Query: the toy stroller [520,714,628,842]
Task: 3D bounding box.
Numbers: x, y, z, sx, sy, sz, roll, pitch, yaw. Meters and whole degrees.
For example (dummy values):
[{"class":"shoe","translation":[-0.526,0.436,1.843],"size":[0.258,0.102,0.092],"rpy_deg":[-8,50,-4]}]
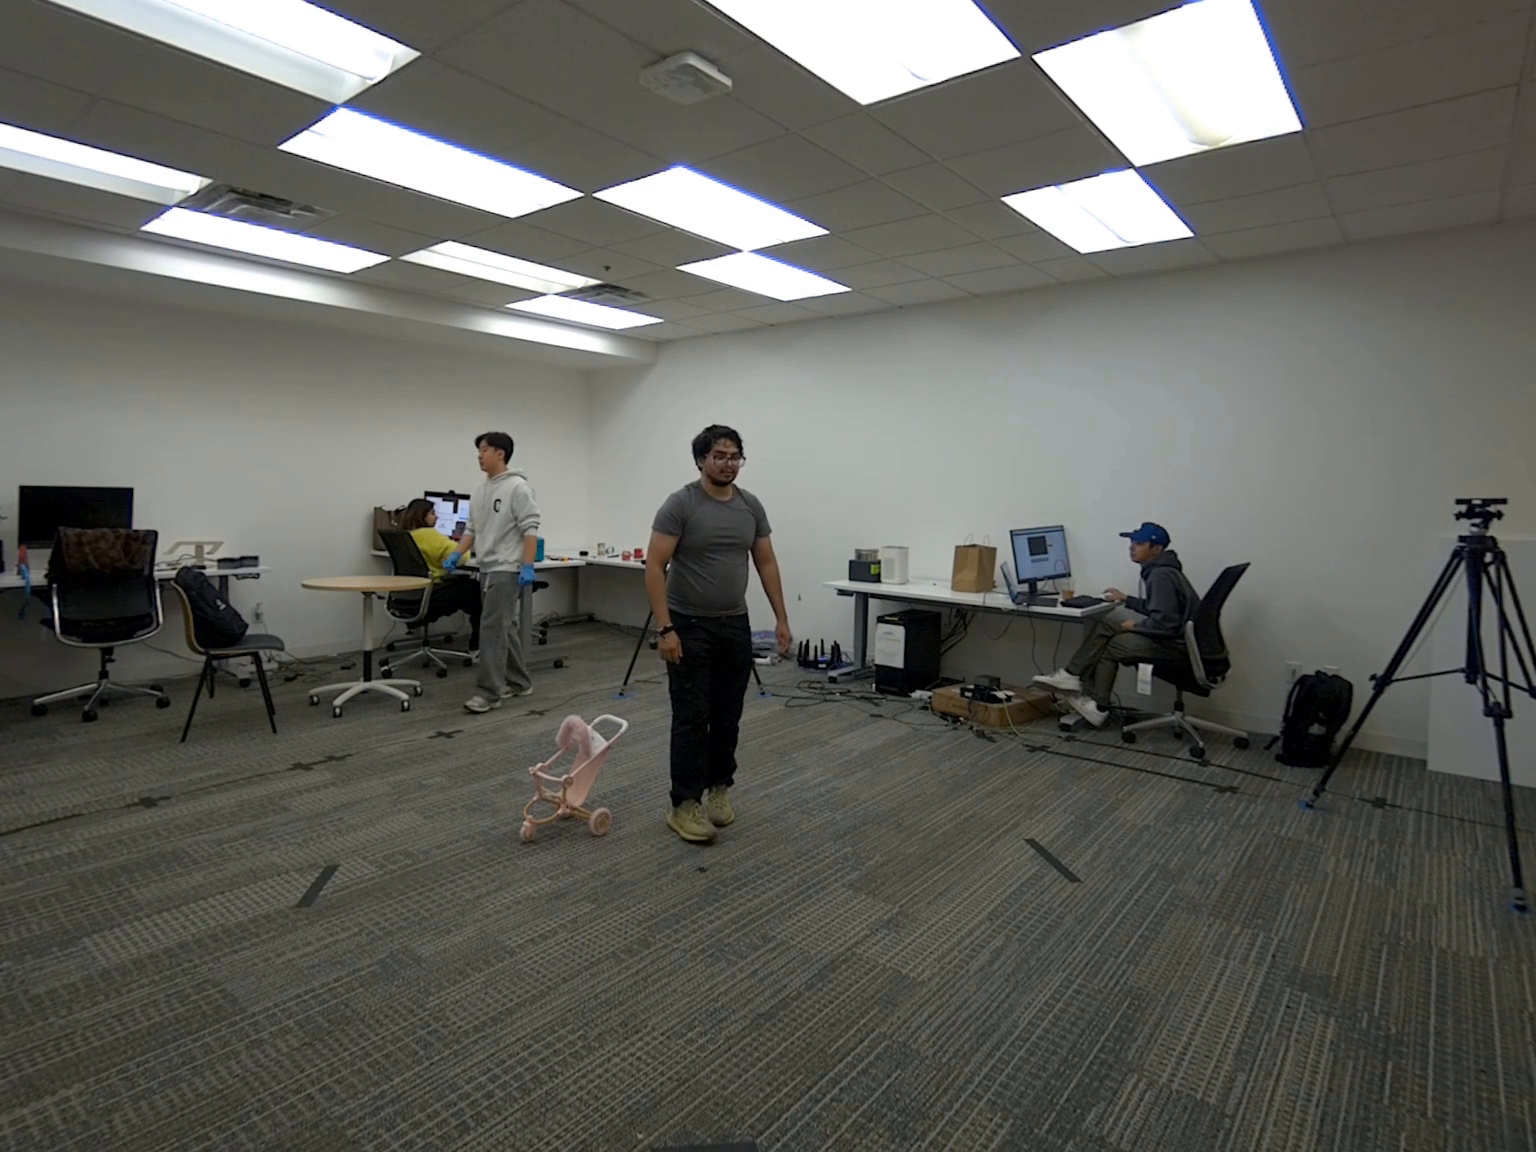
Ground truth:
[{"class":"toy stroller","translation":[-0.811,0.805,3.445],"size":[0.328,0.538,0.291],"rpy_deg":[20,-10,-39]}]
